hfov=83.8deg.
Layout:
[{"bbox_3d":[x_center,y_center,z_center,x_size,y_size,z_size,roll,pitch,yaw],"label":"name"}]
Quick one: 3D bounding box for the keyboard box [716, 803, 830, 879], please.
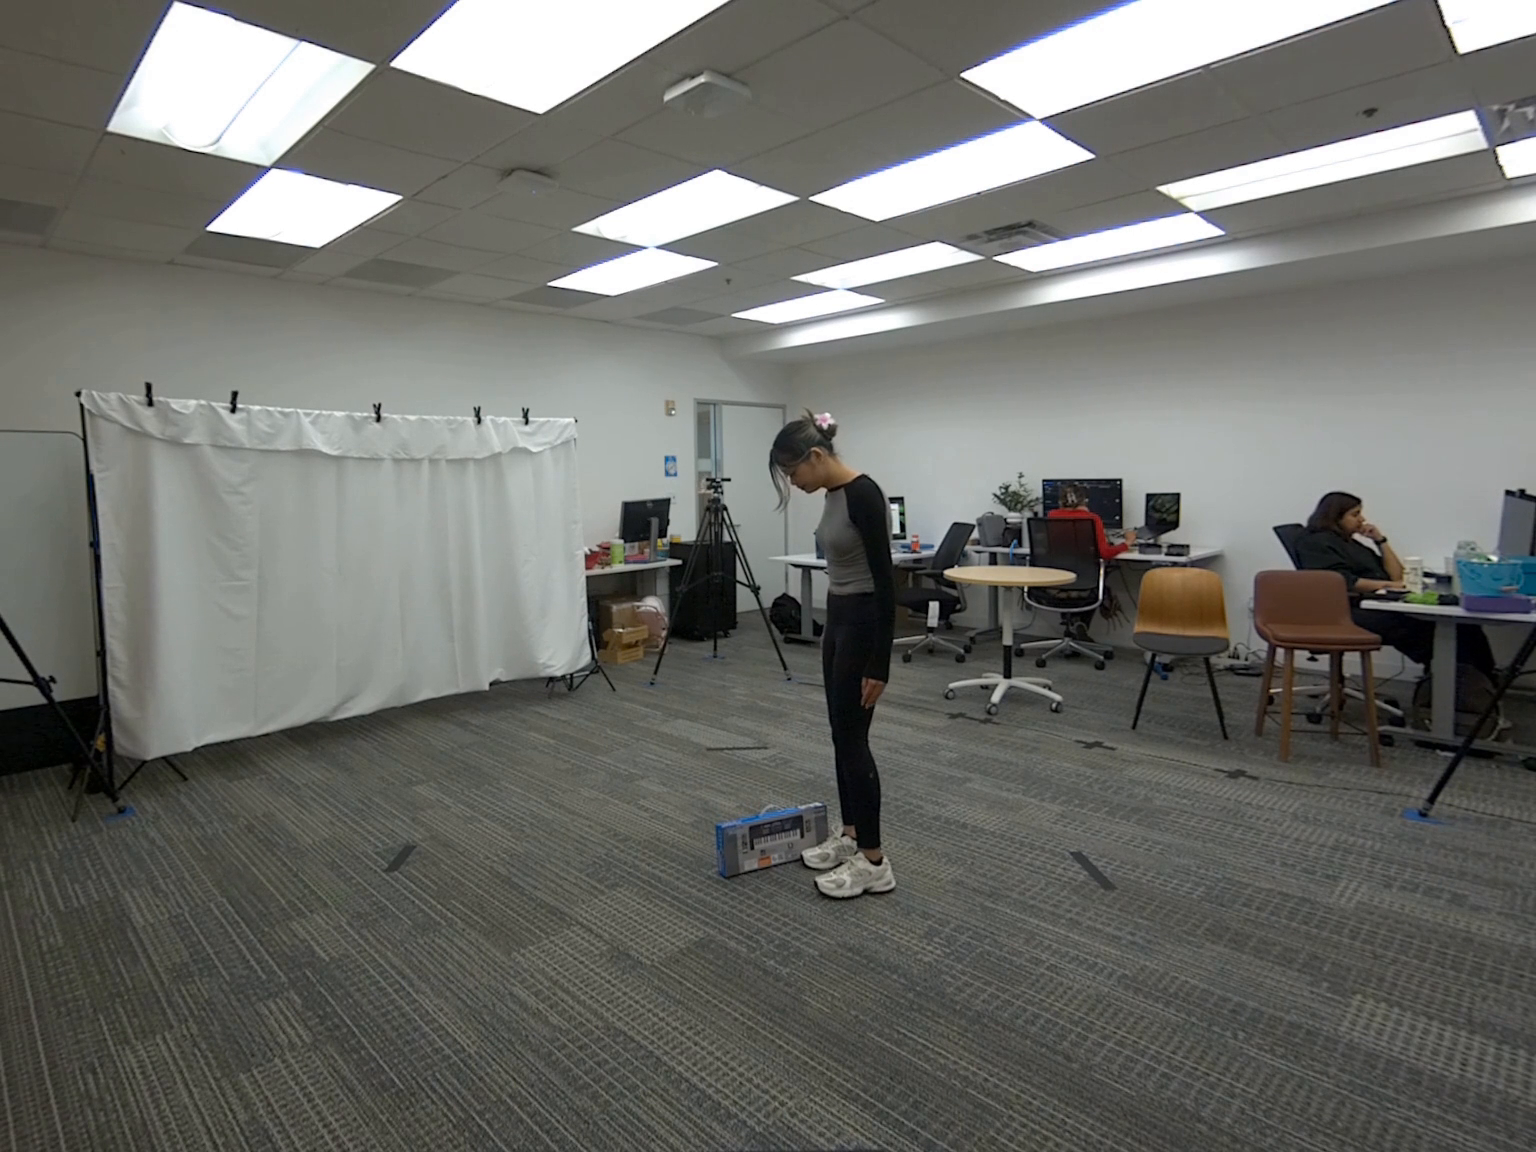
[{"bbox_3d":[0.025,0.957,3.106,0.427,0.176,0.060,-4,-2,-27],"label":"keyboard box"}]
